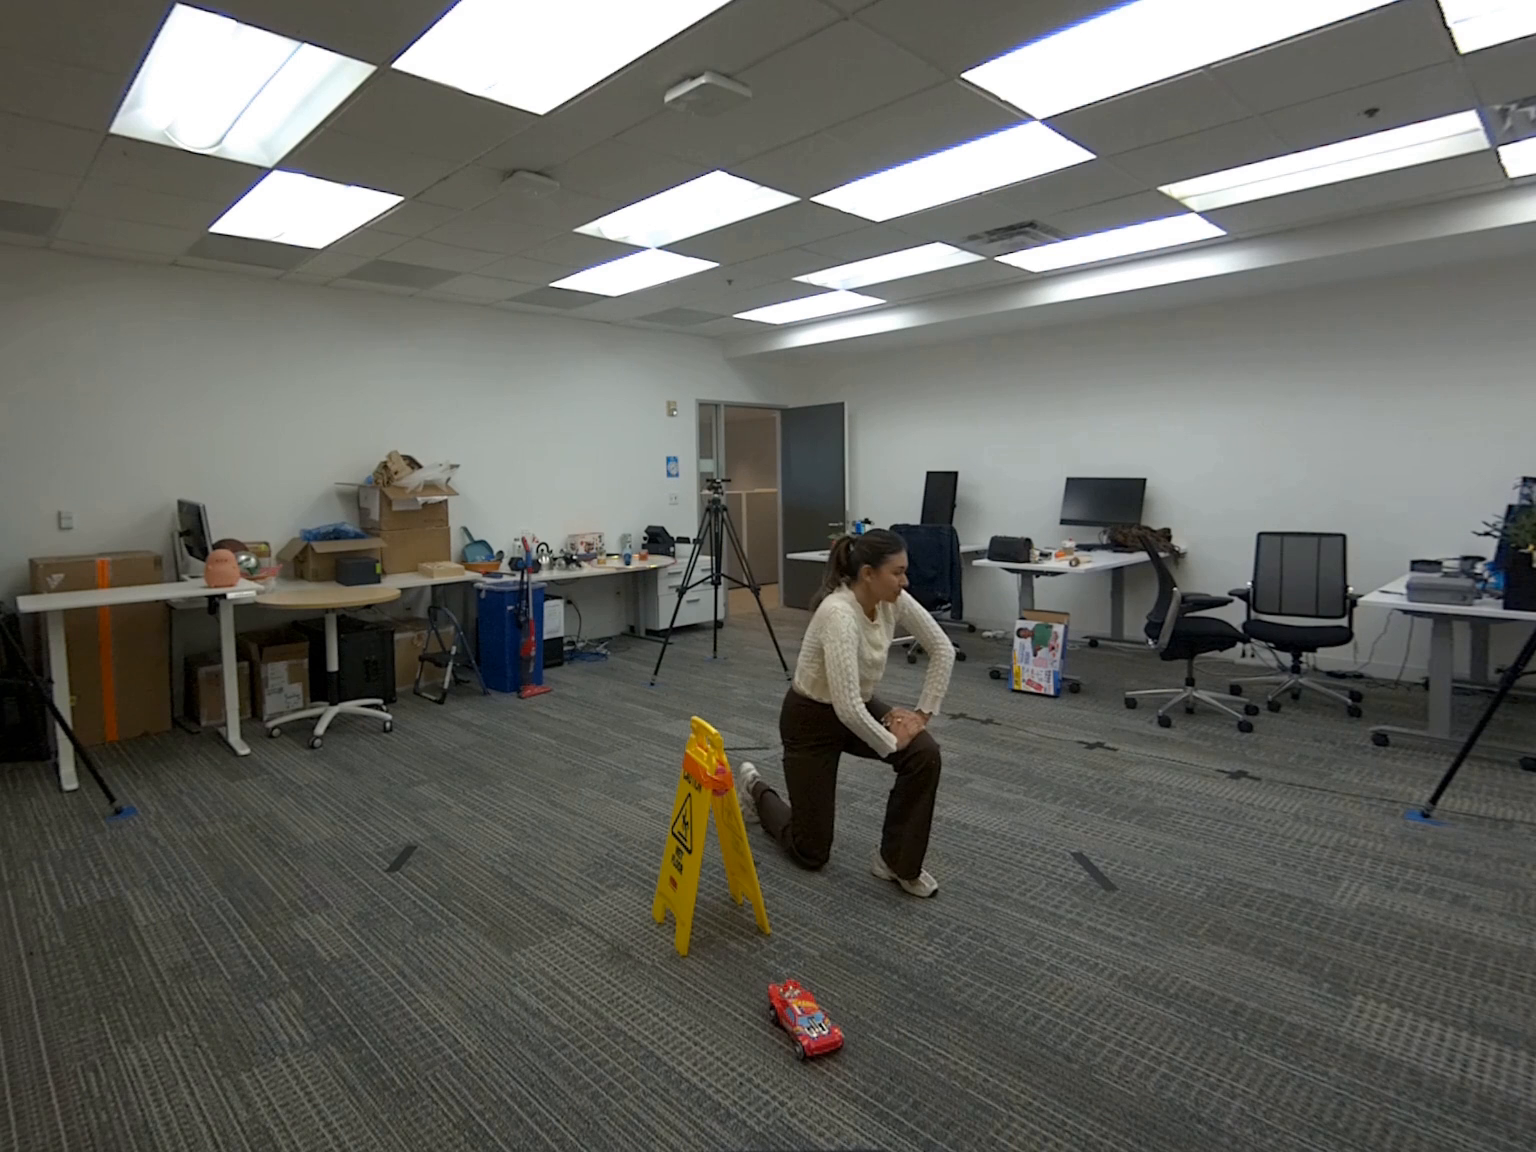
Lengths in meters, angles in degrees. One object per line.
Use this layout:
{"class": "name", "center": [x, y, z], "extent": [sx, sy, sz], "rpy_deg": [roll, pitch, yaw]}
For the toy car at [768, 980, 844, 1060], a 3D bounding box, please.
{"class": "toy car", "center": [0.095, 1.124, 2.158], "extent": [0.128, 0.082, 0.263], "rpy_deg": [-4, 18, -23]}
